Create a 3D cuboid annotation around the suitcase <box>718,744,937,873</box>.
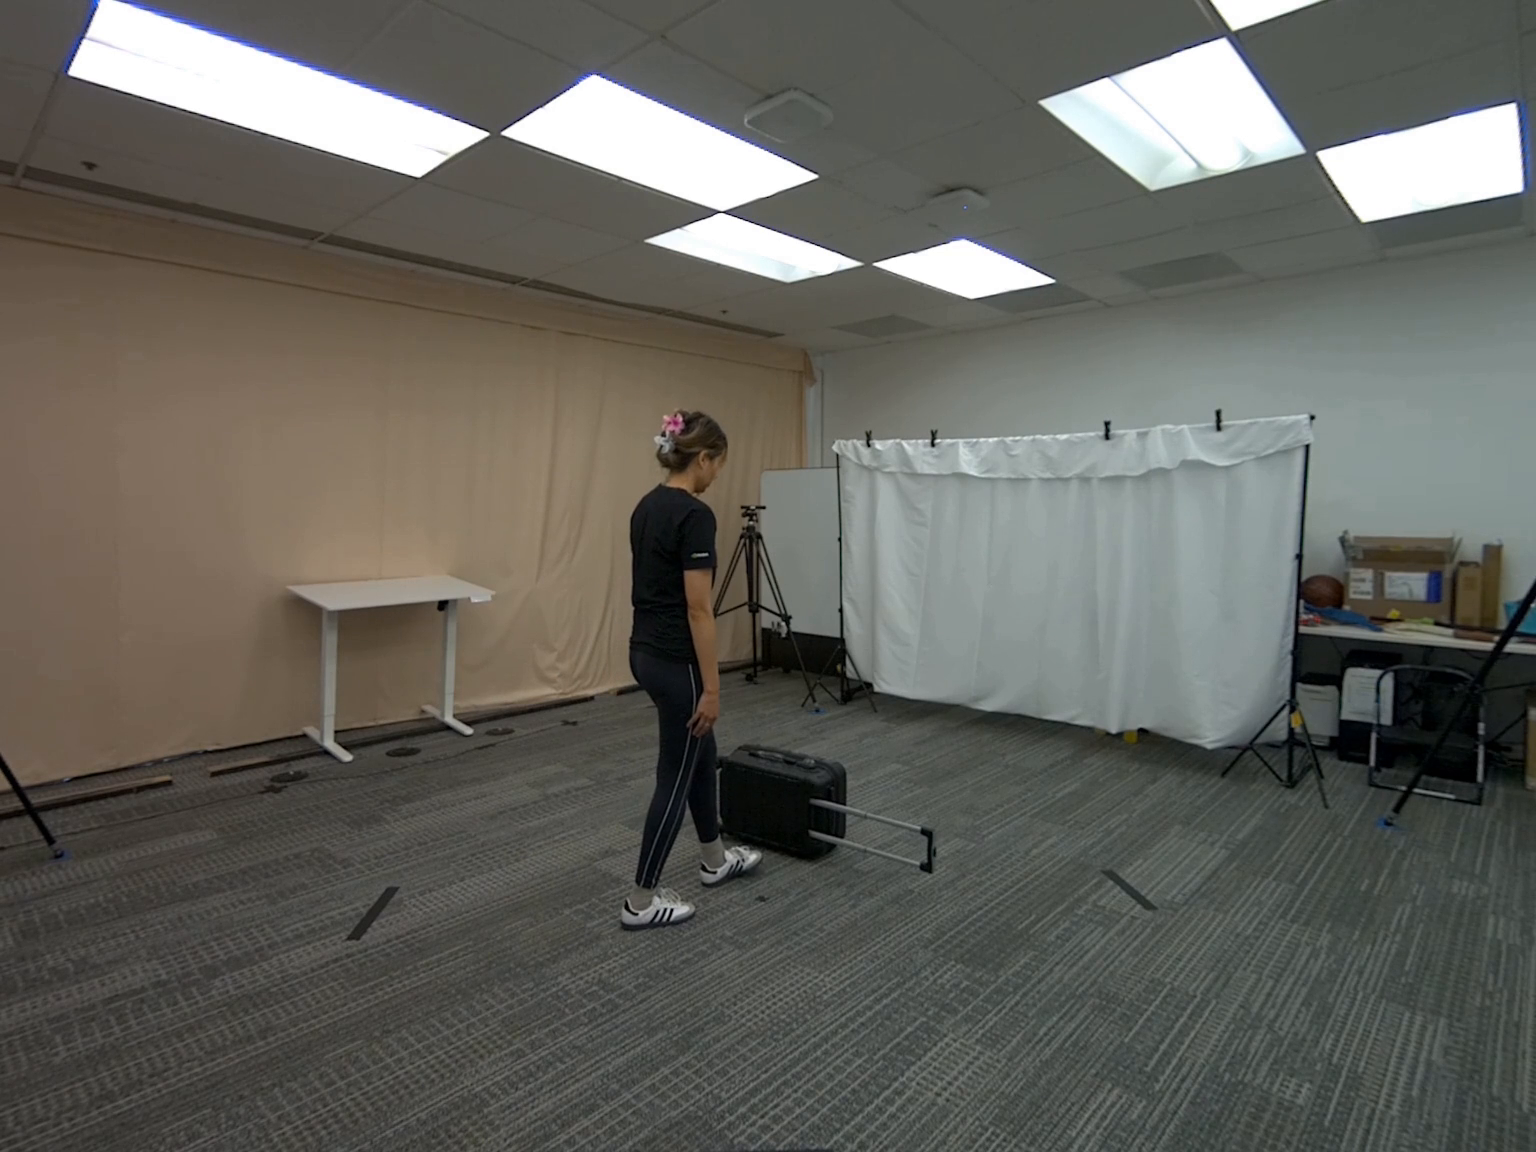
[{"bbox_3d":[0.225,0.925,3.347,1.009,0.383,0.250,3,5,35],"label":"suitcase"}]
